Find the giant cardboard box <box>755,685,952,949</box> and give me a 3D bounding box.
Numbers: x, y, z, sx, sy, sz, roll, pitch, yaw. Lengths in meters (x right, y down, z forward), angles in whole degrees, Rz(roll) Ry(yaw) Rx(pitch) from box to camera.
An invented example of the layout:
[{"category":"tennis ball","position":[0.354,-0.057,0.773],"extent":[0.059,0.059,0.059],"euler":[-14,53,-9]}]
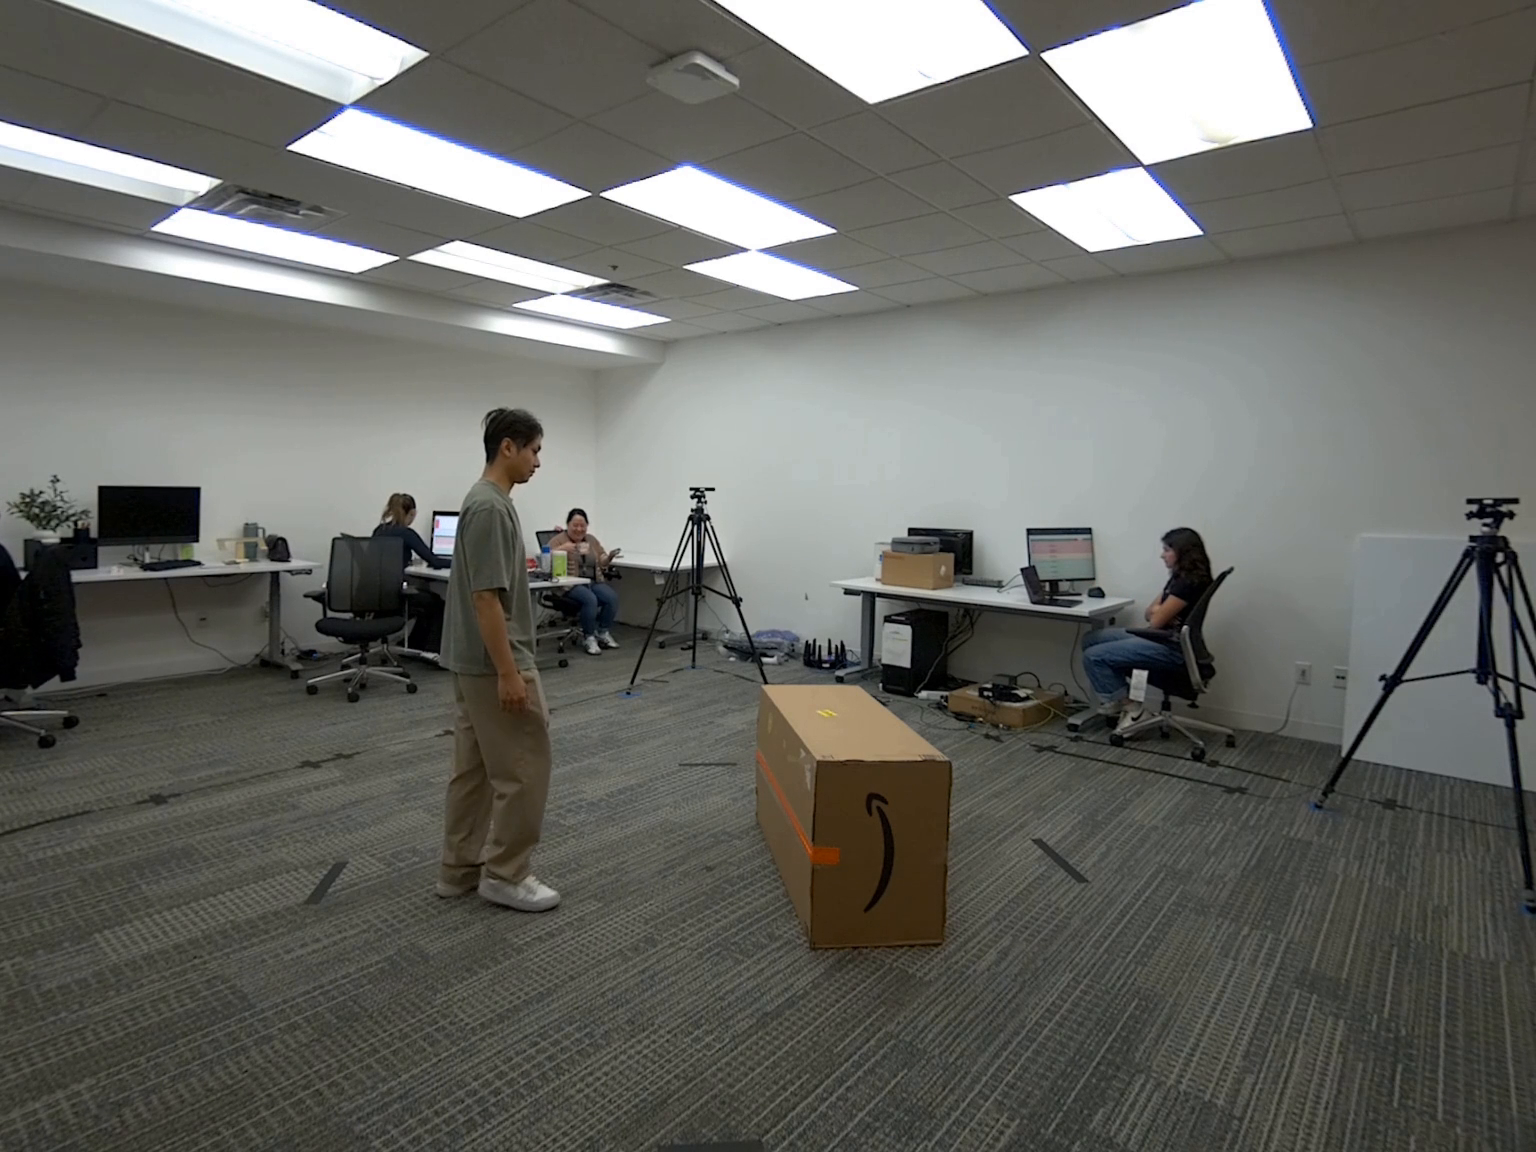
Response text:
[{"category":"giant cardboard box","position":[0.246,0.788,3.085],"extent":[0.422,0.576,1.039],"euler":[1,5,-10]}]
